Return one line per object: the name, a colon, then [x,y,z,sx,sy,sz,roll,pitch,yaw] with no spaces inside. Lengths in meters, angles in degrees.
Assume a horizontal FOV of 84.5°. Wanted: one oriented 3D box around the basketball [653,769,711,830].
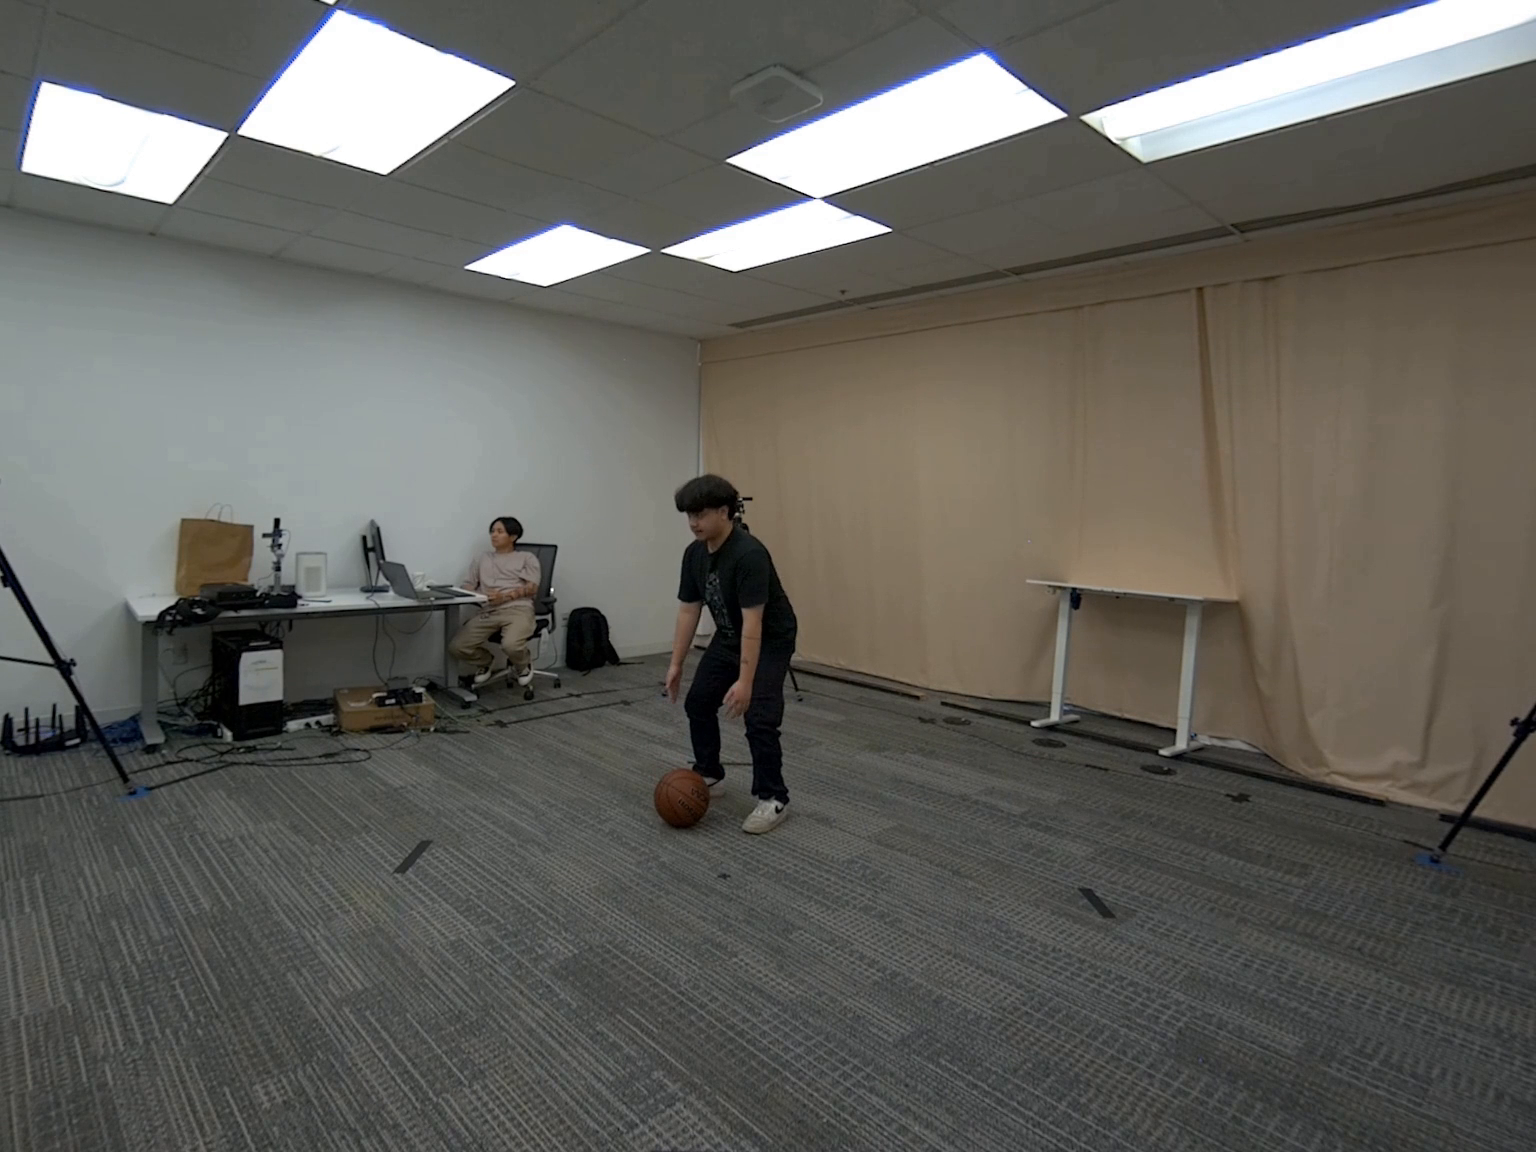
basketball: [-0.375,0.939,3.581,0.236,0.235,0.237,1,4,-1]
